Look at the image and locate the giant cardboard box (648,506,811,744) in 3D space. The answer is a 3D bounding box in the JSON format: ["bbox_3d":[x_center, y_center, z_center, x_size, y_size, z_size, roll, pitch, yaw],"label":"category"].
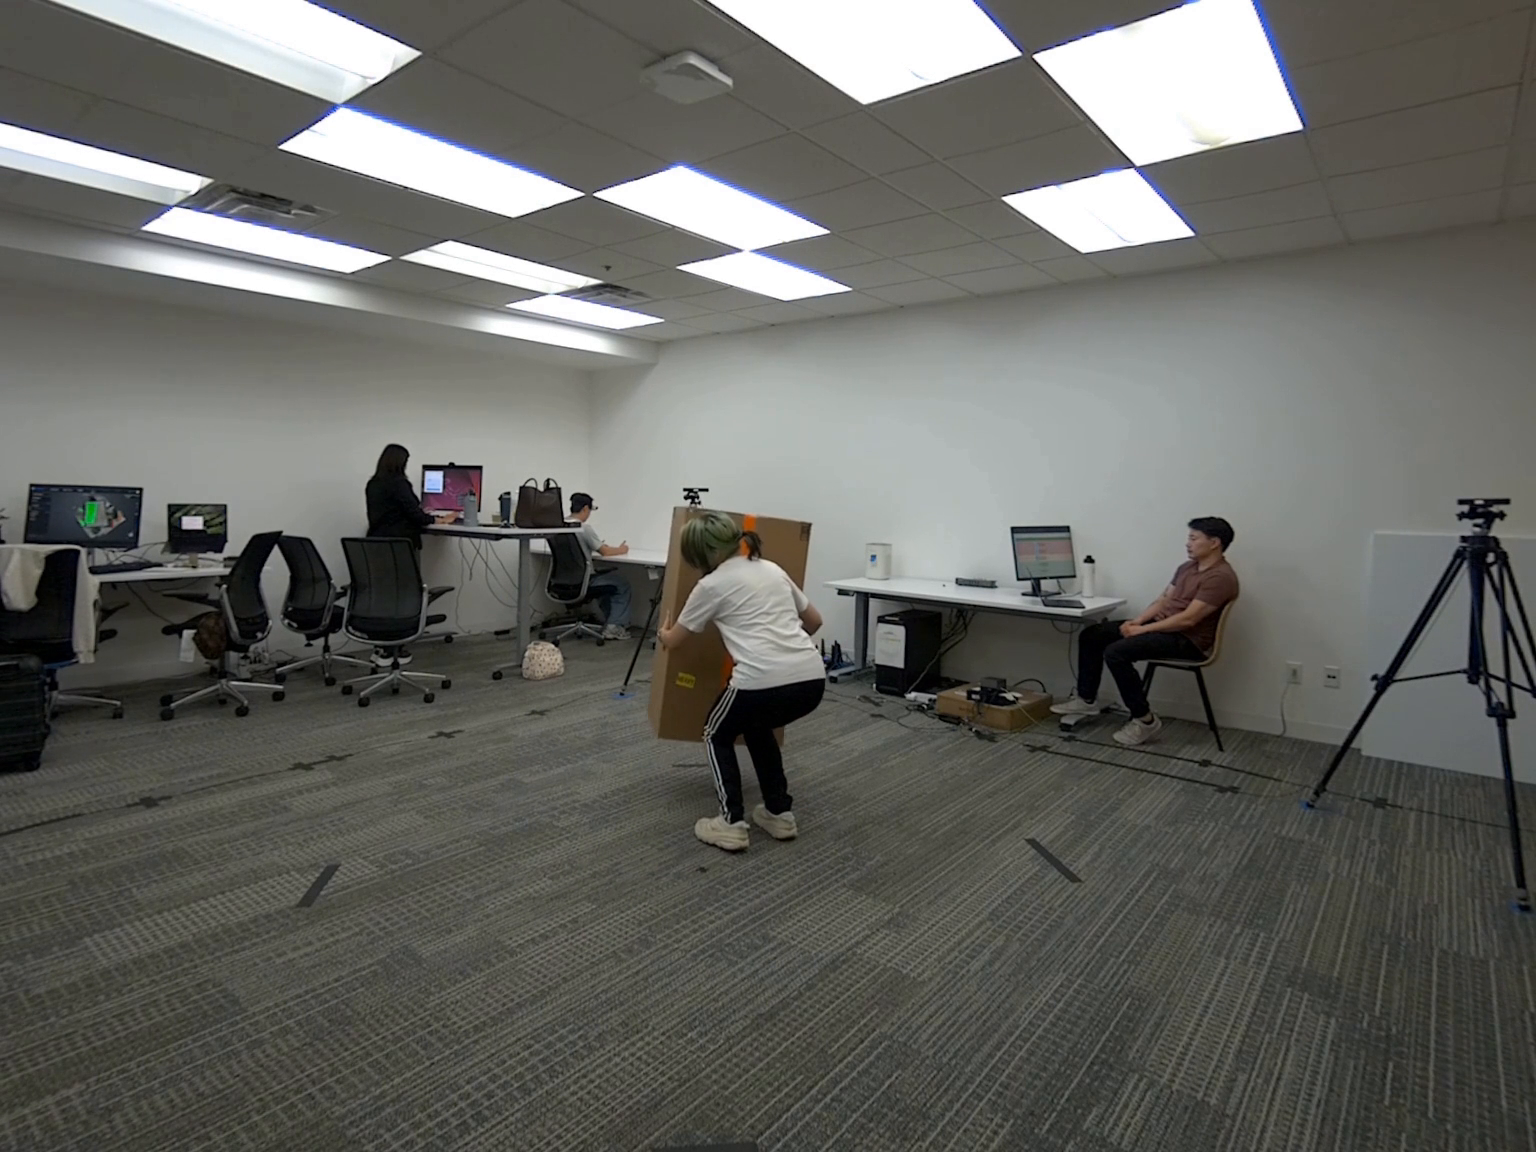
[{"bbox_3d":[-0.203,0.215,3.957,0.575,1.026,0.454,7,1,-13],"label":"giant cardboard box"}]
